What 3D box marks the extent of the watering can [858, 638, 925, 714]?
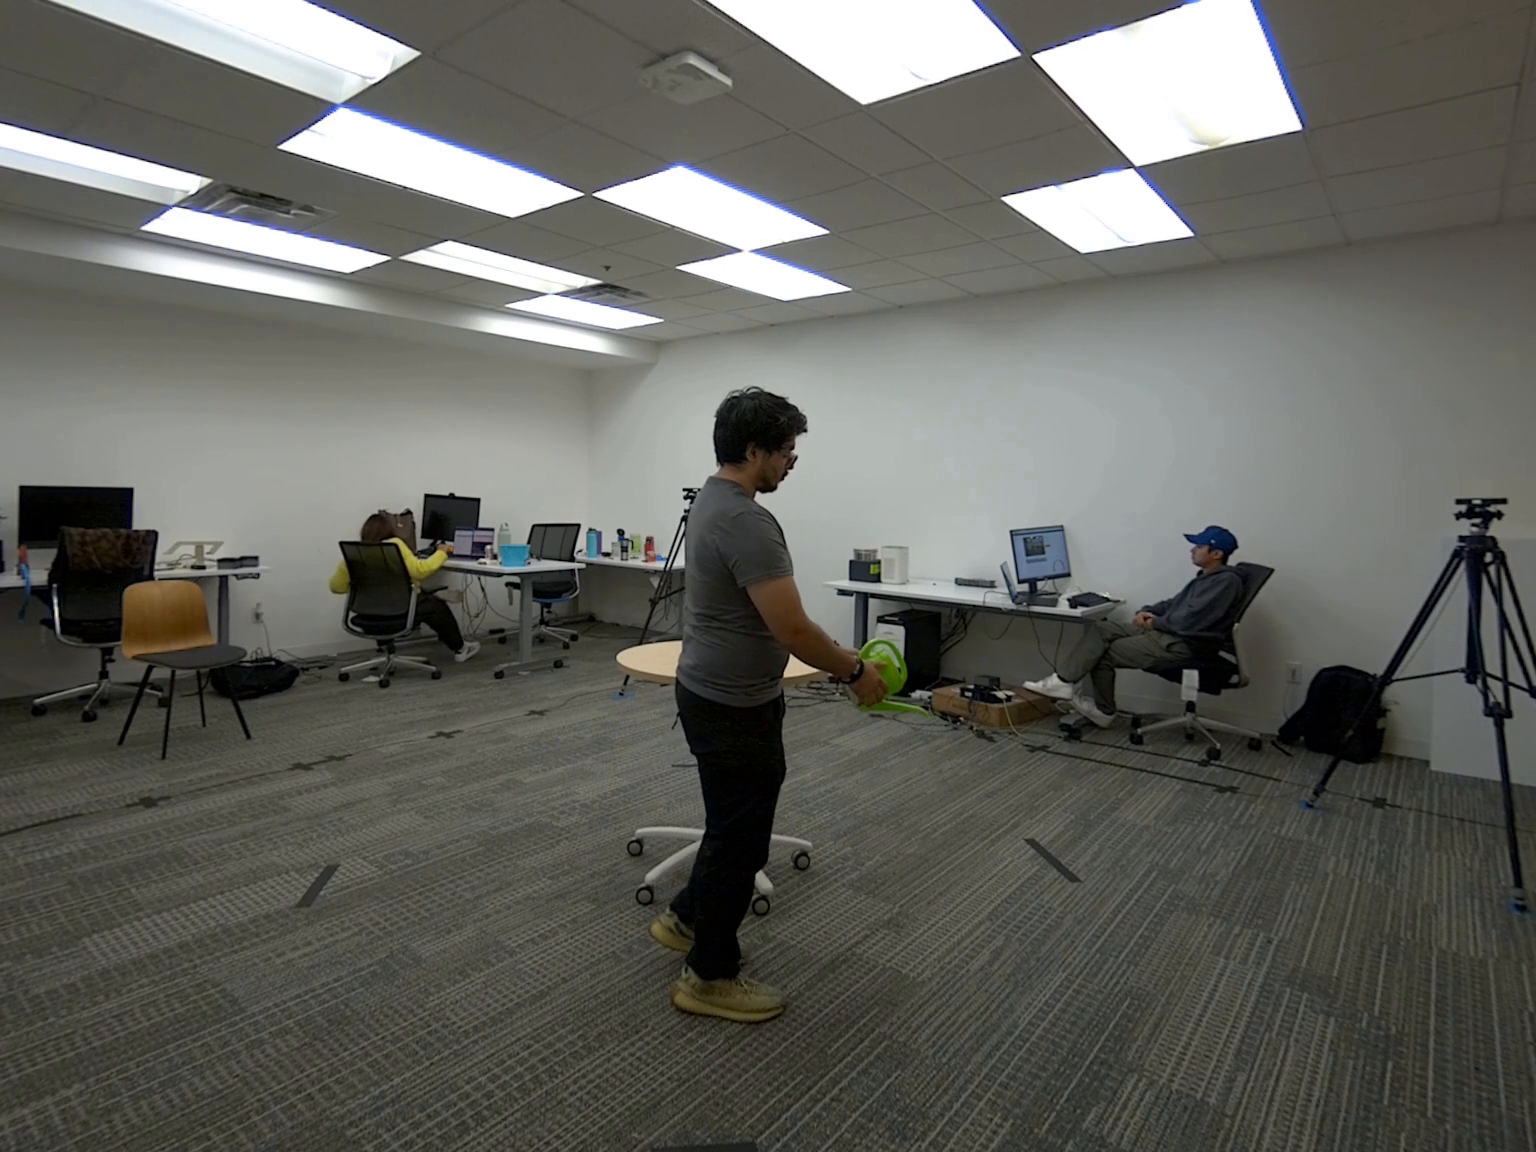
[{"bbox_3d":[0.316,0.315,2.318,0.176,0.281,0.097,-28,-7,-9],"label":"watering can"}]
